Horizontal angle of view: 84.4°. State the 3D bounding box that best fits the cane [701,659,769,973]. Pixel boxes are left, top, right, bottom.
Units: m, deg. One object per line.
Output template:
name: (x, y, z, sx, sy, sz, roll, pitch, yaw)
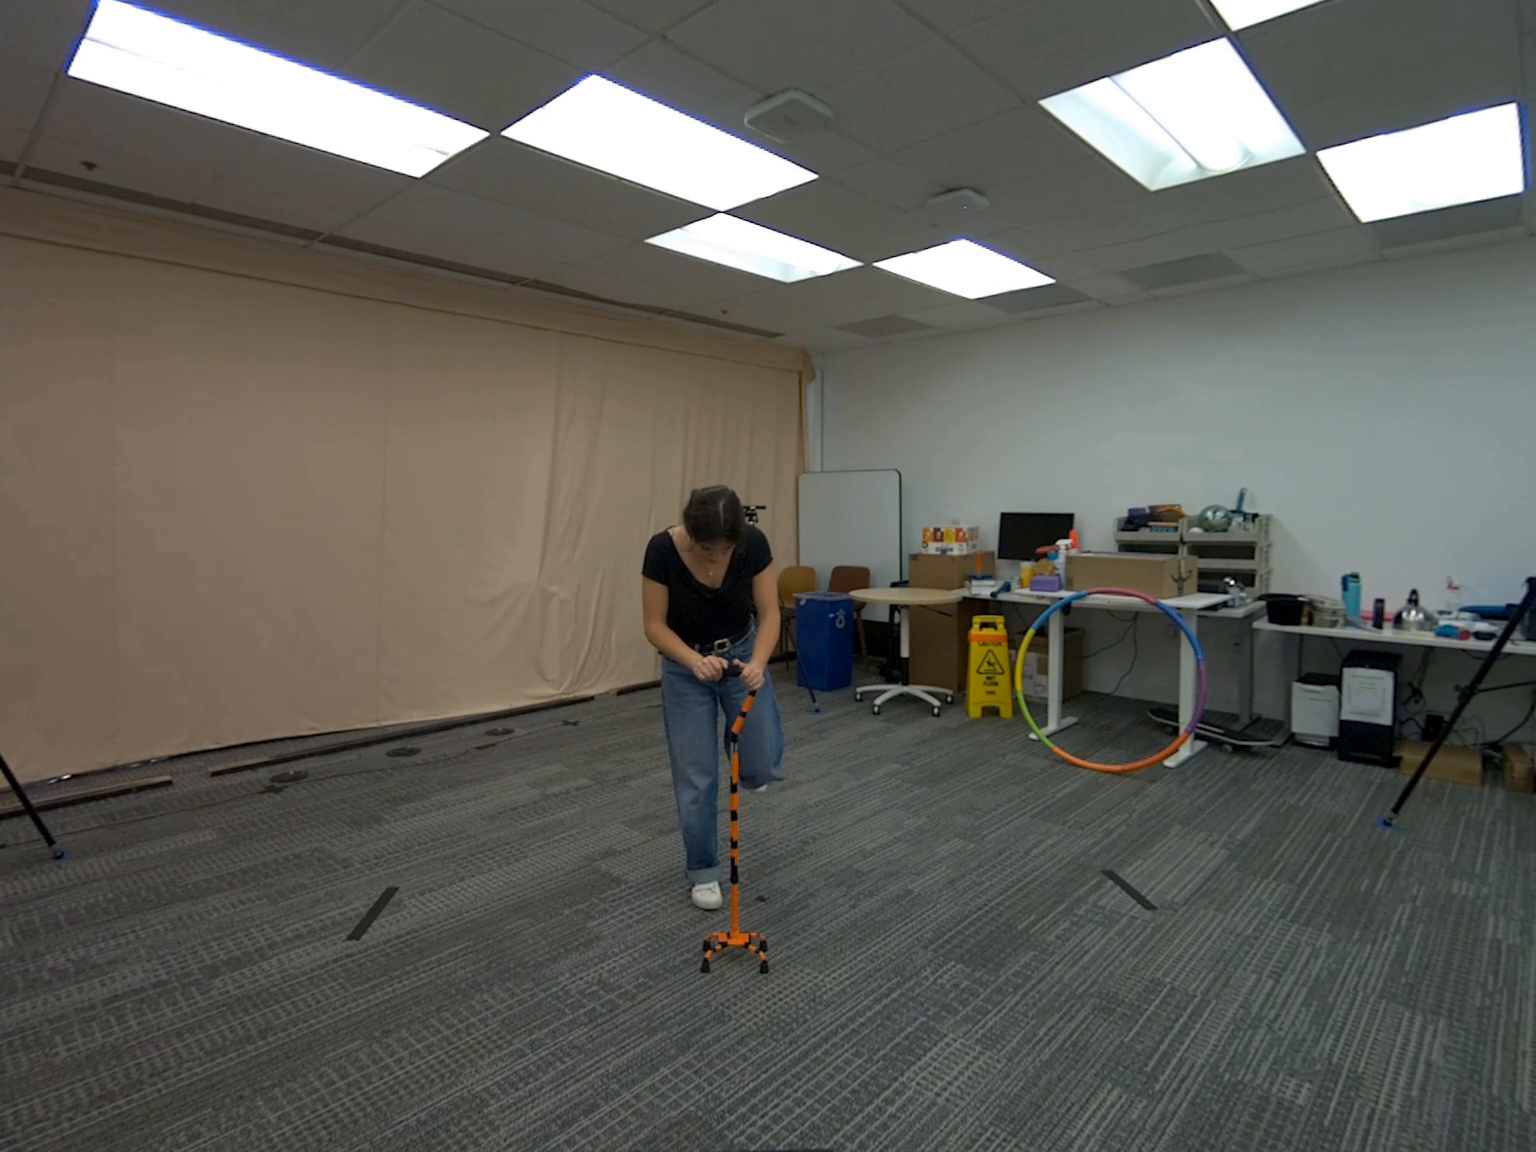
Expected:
cane: (-0.098, 0.720, 2.552, 0.206, 0.906, 0.152, 0, 3, 0)
